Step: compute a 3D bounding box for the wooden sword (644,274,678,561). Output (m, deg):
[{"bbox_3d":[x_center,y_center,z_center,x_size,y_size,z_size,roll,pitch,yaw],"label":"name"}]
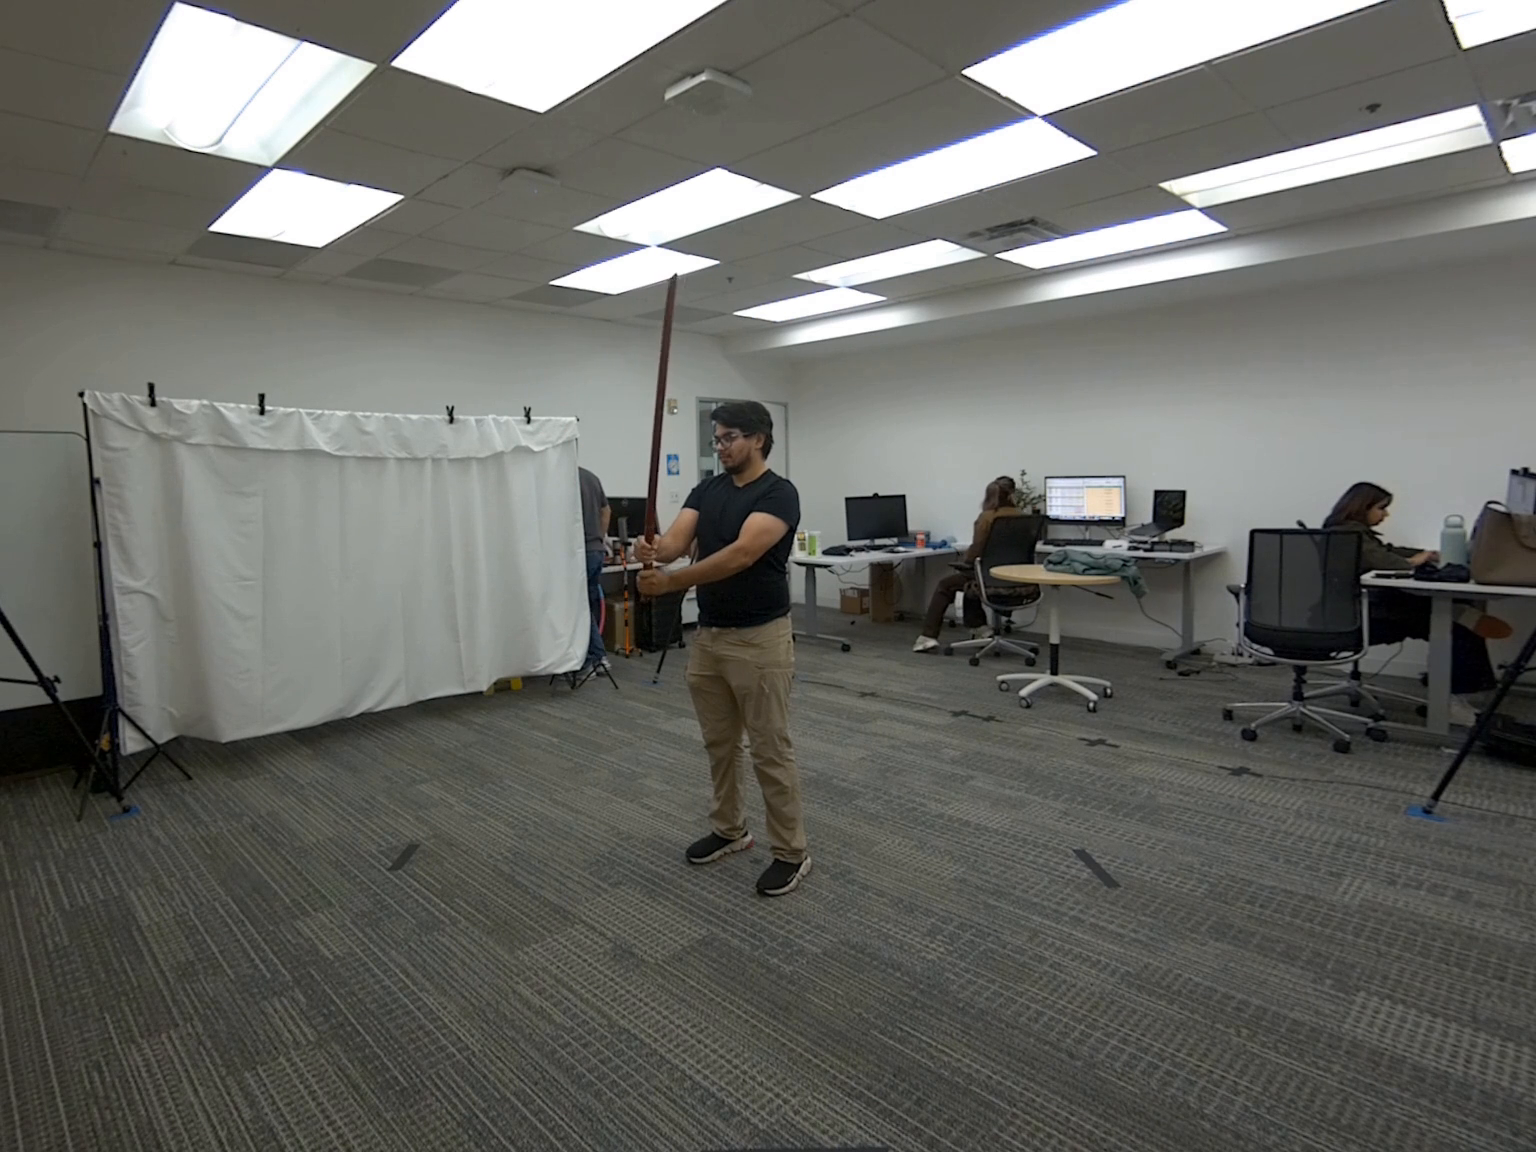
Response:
[{"bbox_3d":[-0.333,-0.385,2.538,0.050,1.006,0.025,-15,34,-39],"label":"wooden sword"}]
